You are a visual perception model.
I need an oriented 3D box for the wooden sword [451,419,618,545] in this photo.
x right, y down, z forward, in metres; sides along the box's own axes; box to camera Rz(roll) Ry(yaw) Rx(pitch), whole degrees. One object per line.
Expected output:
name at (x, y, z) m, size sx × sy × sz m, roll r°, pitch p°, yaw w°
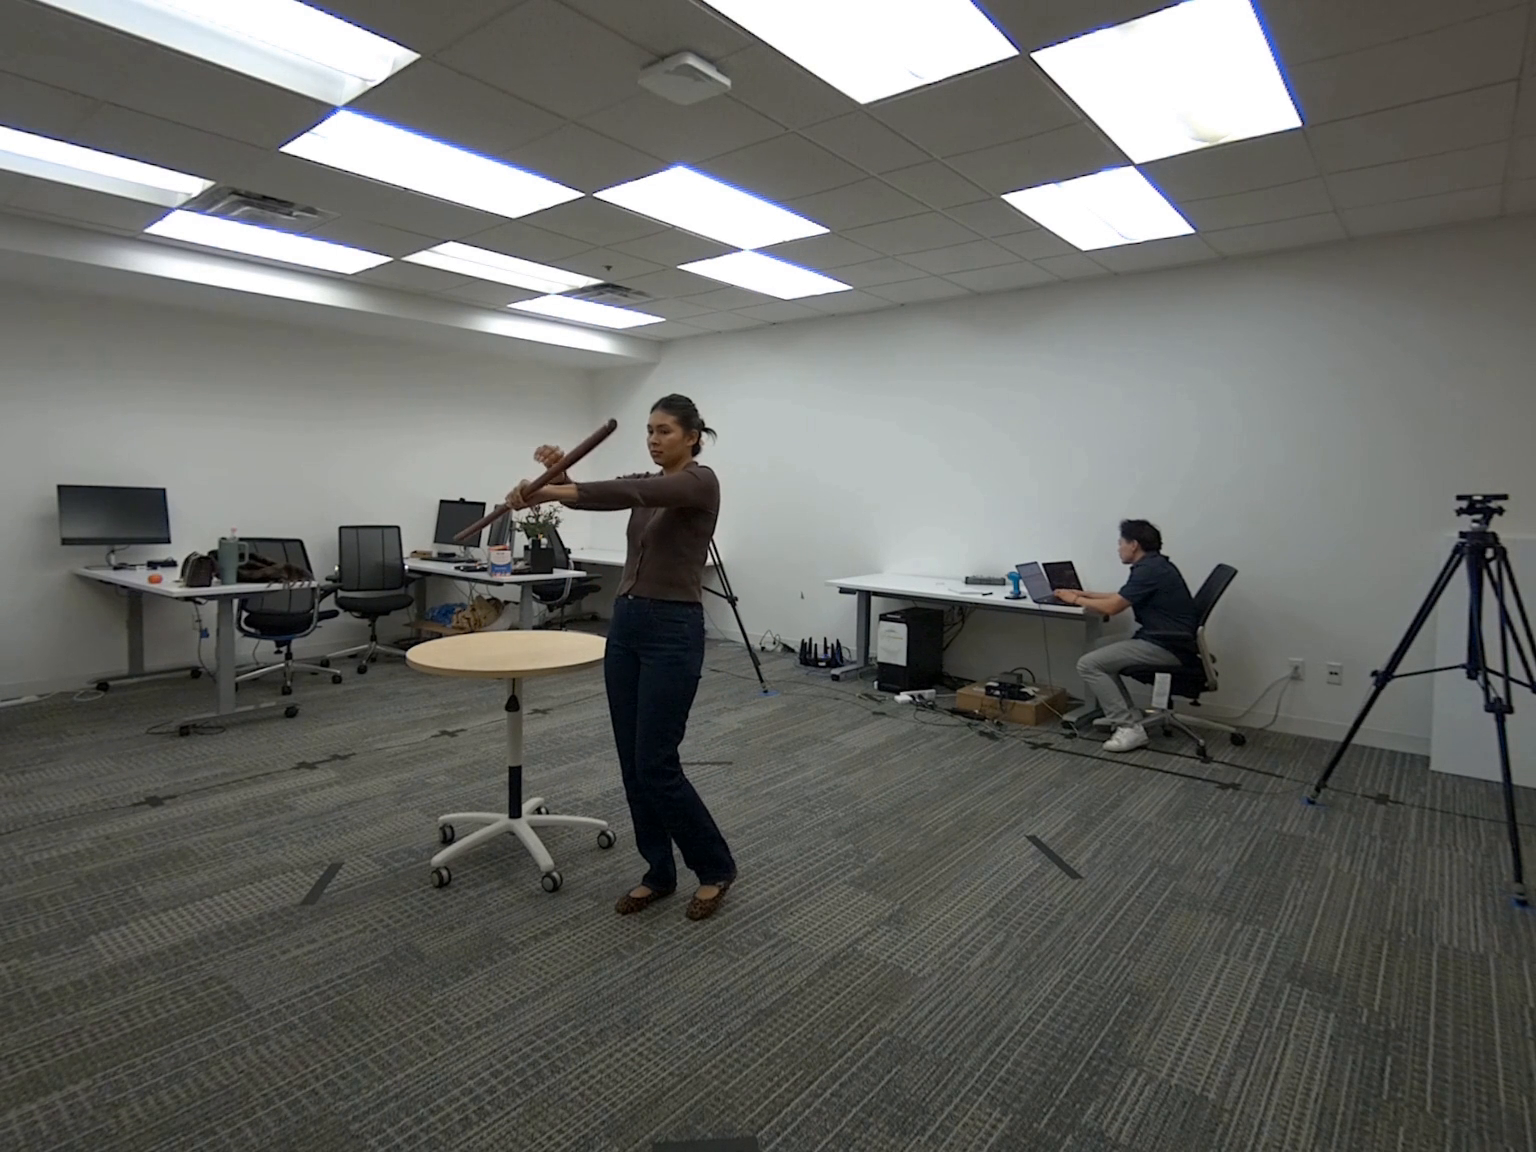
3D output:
wooden sword at (-0.726, -0.237, 2.434) m, size 1.043 × 0.051 × 0.024 m, roll -20°, pitch 8°, yaw 46°
